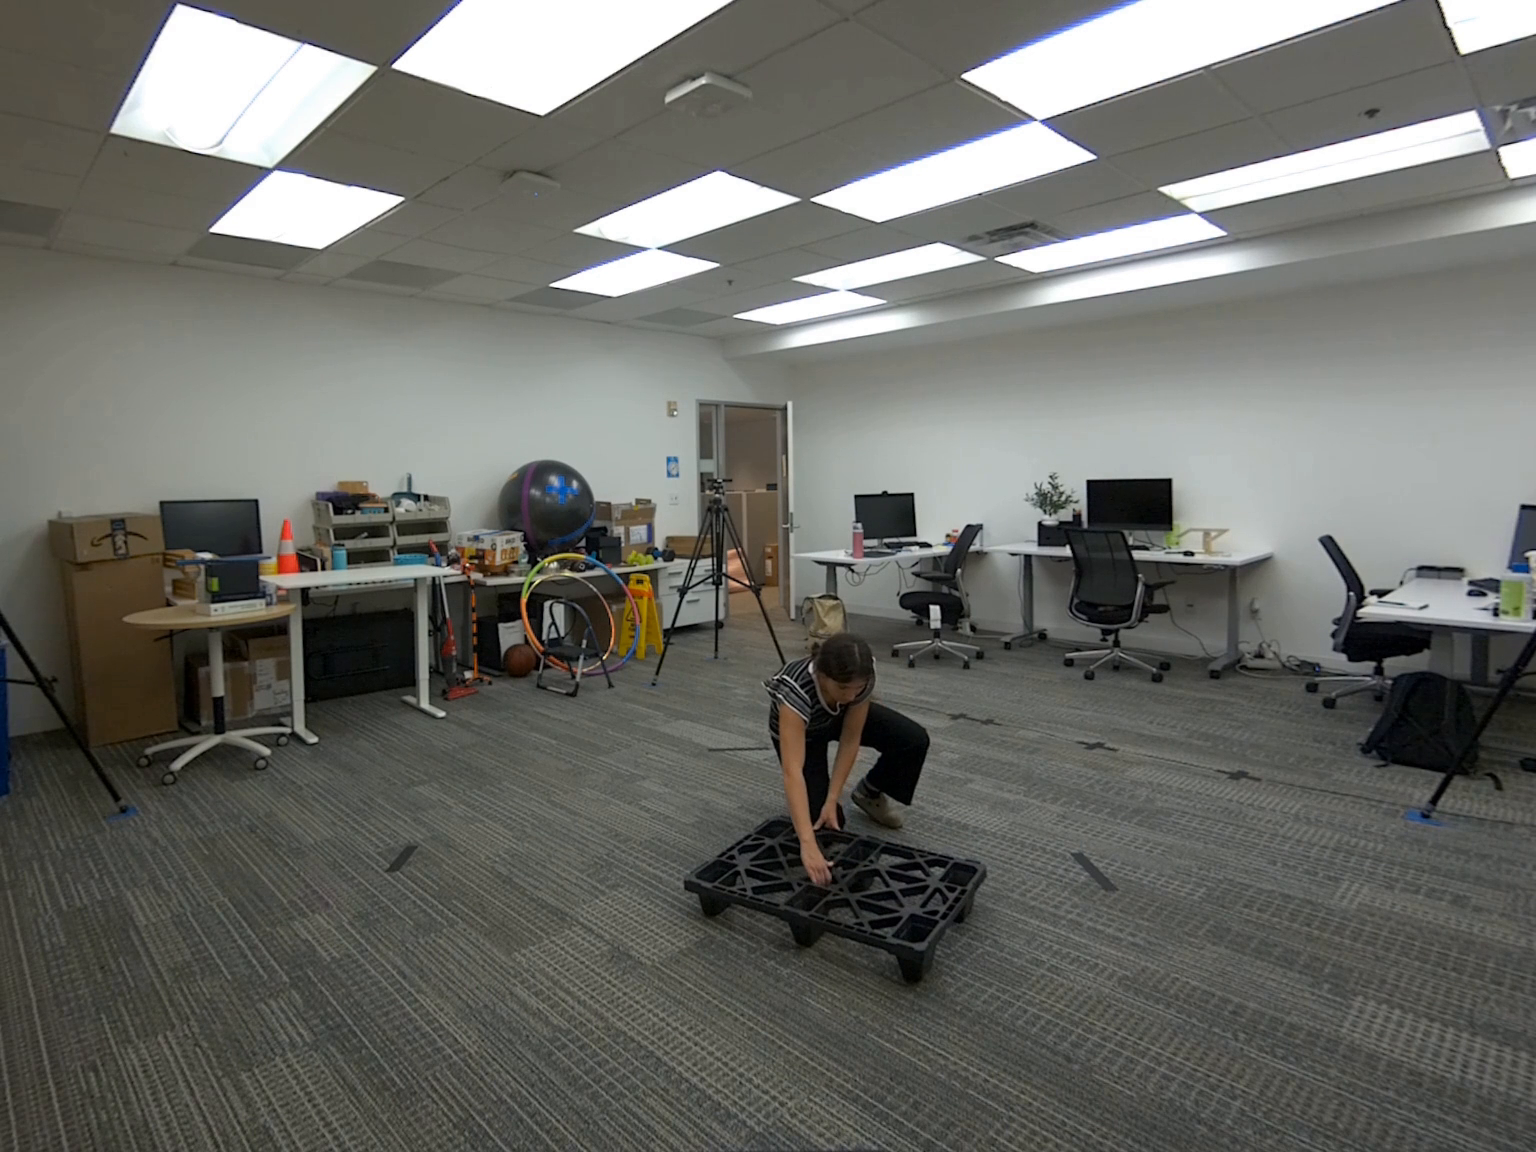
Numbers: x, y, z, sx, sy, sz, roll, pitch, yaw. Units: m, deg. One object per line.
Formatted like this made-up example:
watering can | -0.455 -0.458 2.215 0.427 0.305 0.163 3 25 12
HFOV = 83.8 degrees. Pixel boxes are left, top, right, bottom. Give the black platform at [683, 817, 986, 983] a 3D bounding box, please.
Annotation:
black platform | 0.221 1.012 2.744 0.828 0.142 0.592 3 8 32
